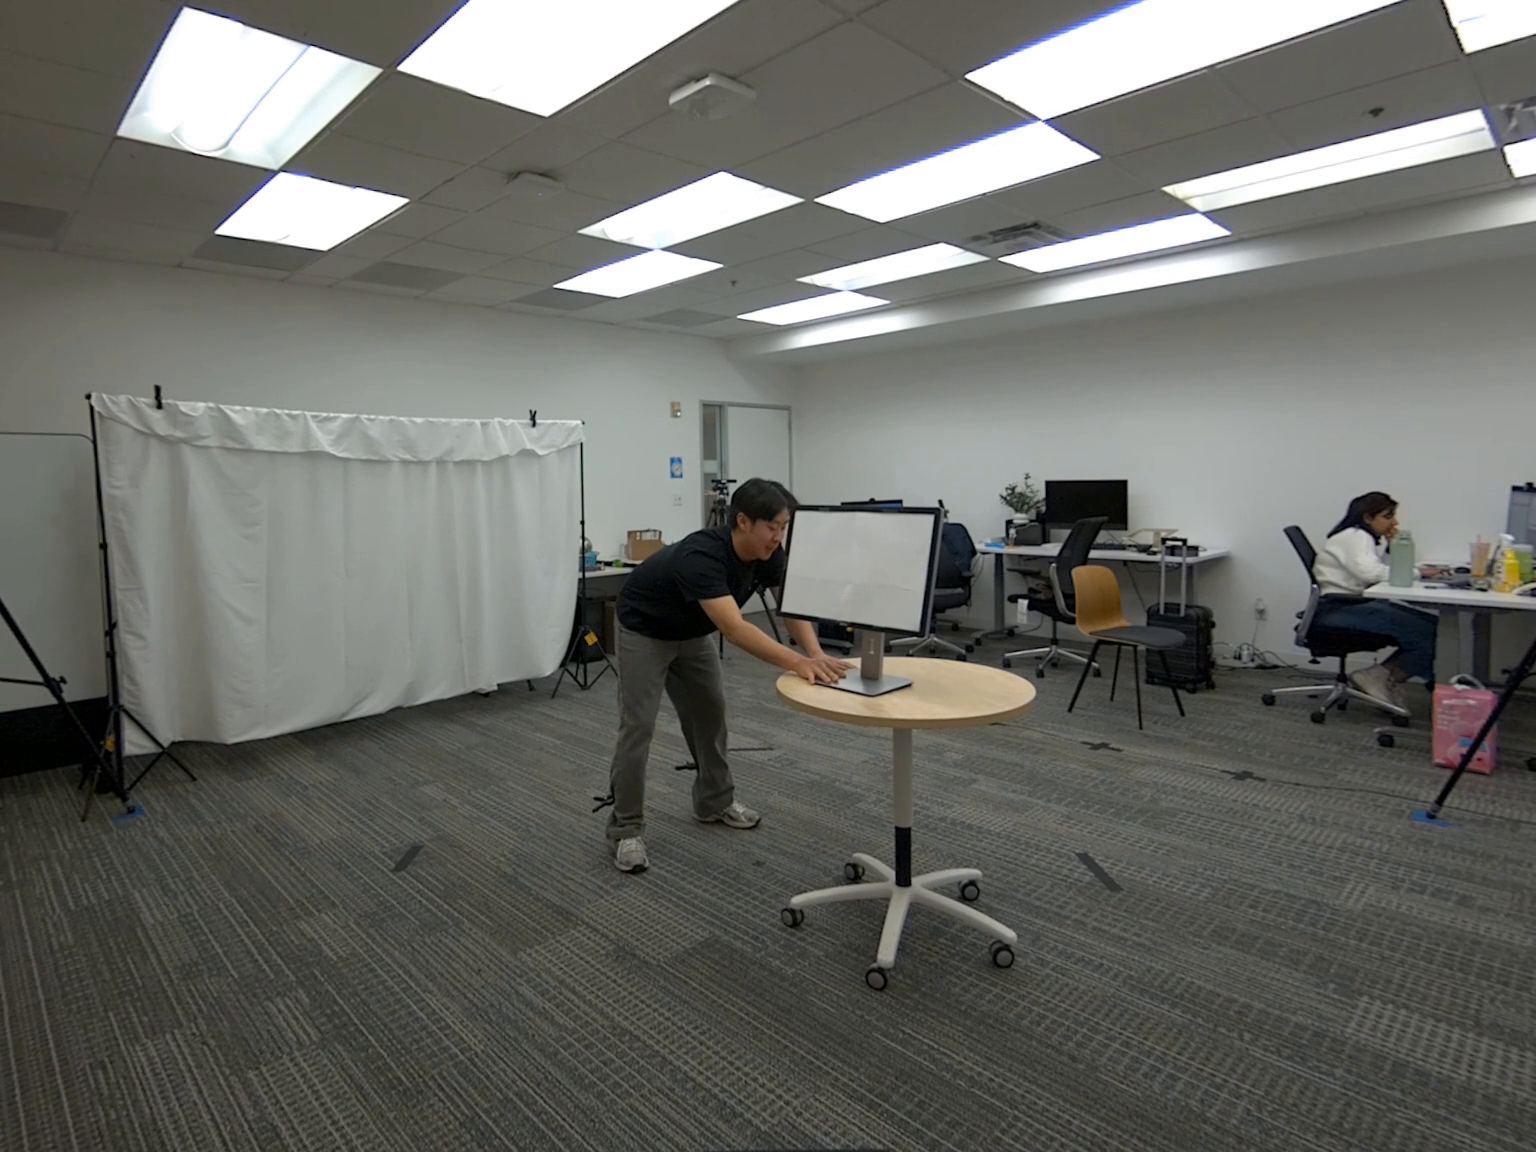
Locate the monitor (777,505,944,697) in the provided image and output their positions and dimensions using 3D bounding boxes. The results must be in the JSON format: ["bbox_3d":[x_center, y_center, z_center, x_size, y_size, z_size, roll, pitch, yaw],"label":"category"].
[{"bbox_3d":[0.305,0.063,2.590,0.203,0.554,0.583,5,-1,-45],"label":"monitor"}]
